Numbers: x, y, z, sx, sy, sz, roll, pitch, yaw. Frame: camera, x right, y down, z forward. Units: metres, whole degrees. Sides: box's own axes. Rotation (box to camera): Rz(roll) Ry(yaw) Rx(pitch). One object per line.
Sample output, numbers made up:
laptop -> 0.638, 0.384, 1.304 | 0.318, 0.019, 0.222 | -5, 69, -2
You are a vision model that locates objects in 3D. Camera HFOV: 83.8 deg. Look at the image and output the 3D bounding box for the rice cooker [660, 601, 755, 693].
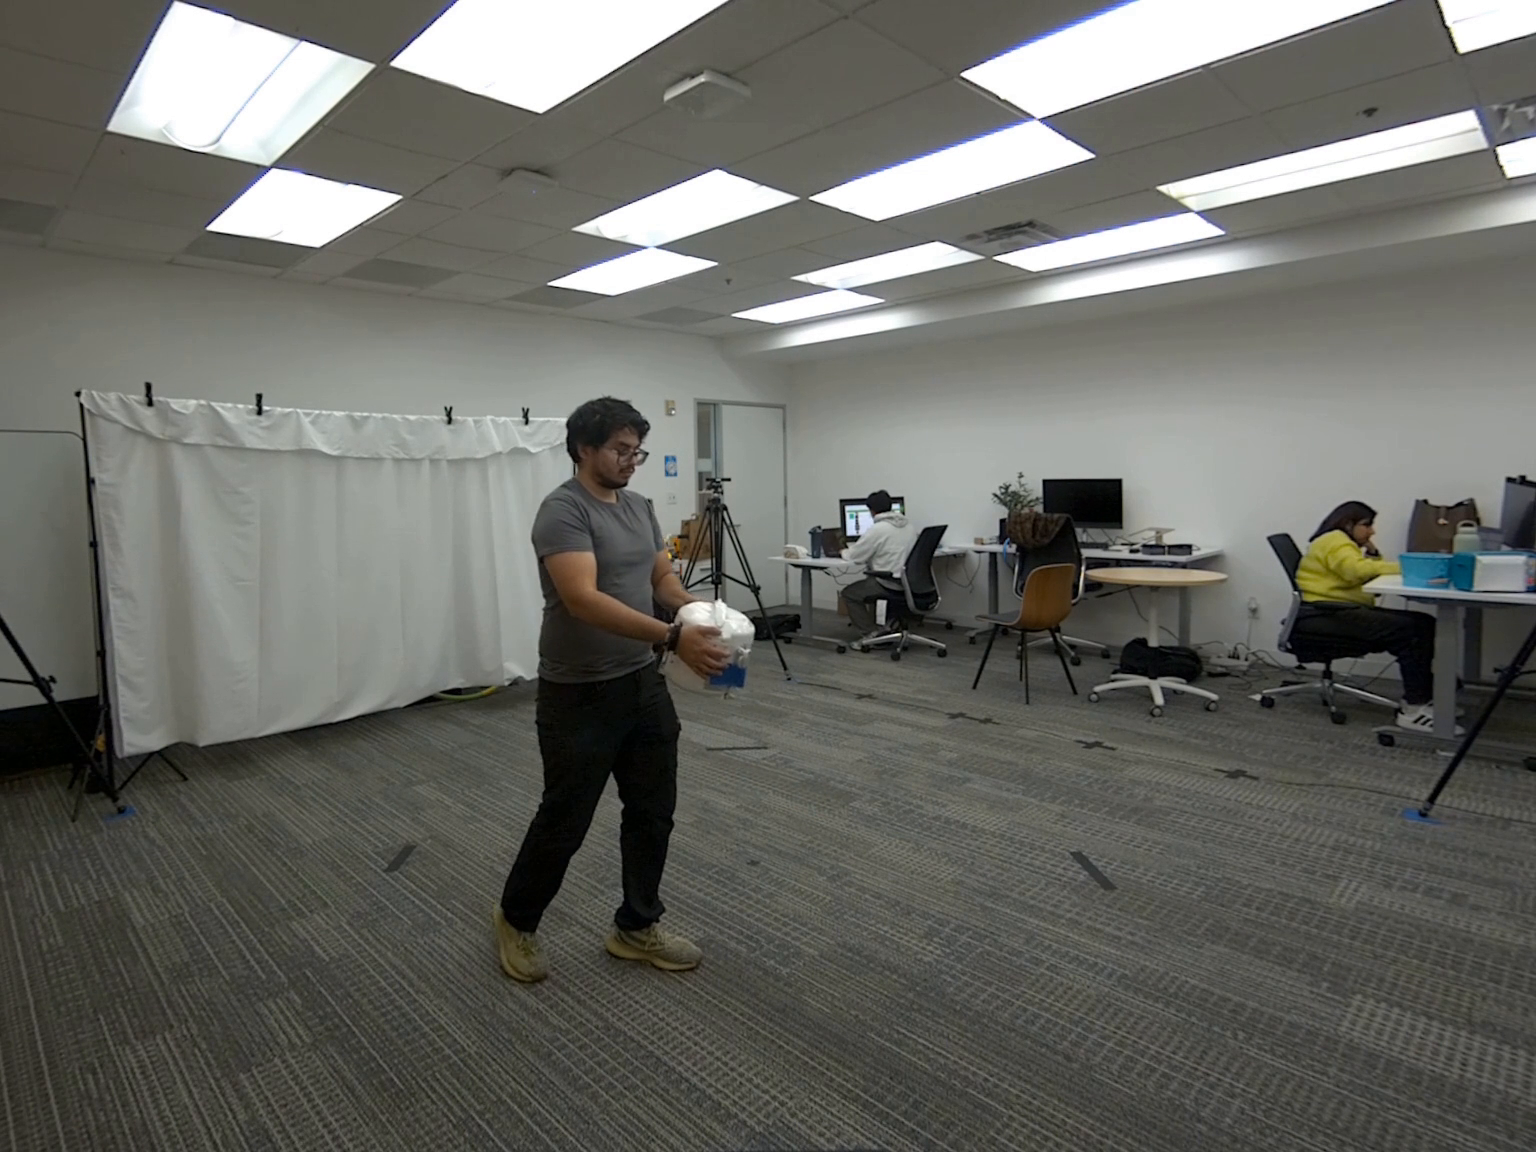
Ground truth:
rice cooker -> -0.163, 0.184, 2.260 | 0.216, 0.231, 0.223 | 13, 13, -5
